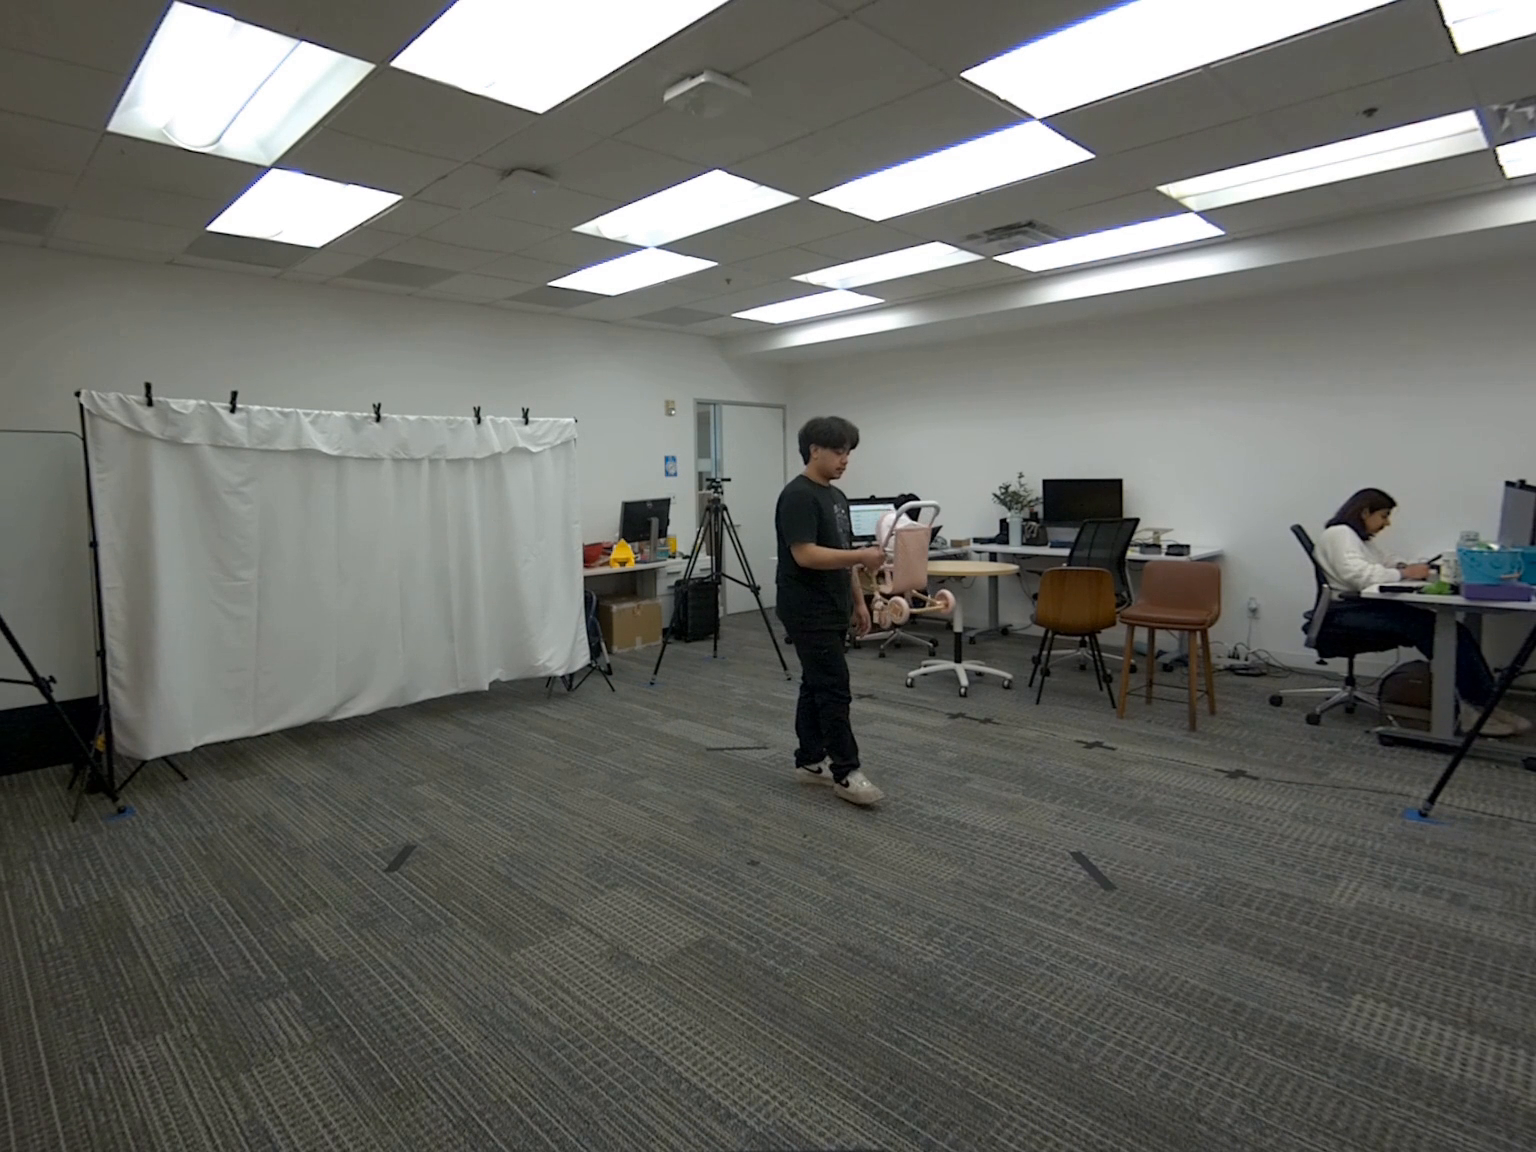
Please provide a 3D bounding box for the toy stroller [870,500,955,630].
[{"bbox_3d":[0.547,-0.036,3.539,0.276,0.533,0.349,-6,4,-26],"label":"toy stroller"}]
